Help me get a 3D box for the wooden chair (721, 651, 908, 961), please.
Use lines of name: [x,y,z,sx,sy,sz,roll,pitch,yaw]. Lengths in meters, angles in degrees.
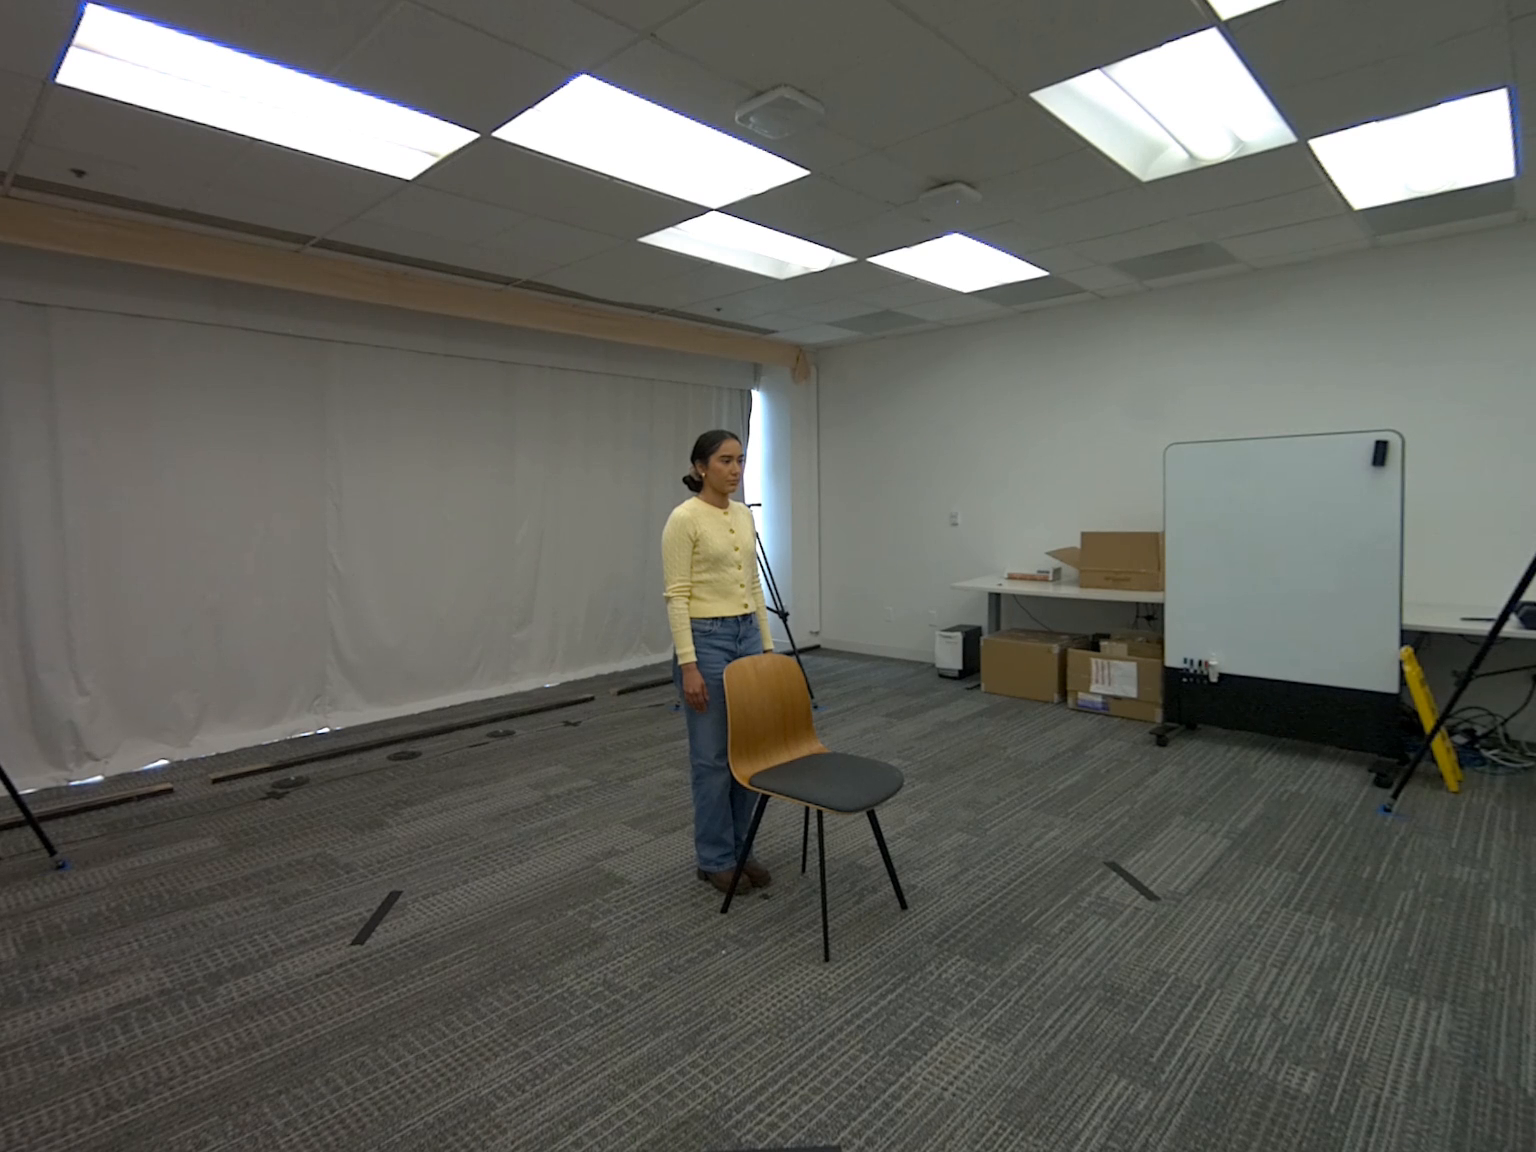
wooden chair: [0.165,0.719,2.828,0.539,0.877,0.463,-4,1,43]
